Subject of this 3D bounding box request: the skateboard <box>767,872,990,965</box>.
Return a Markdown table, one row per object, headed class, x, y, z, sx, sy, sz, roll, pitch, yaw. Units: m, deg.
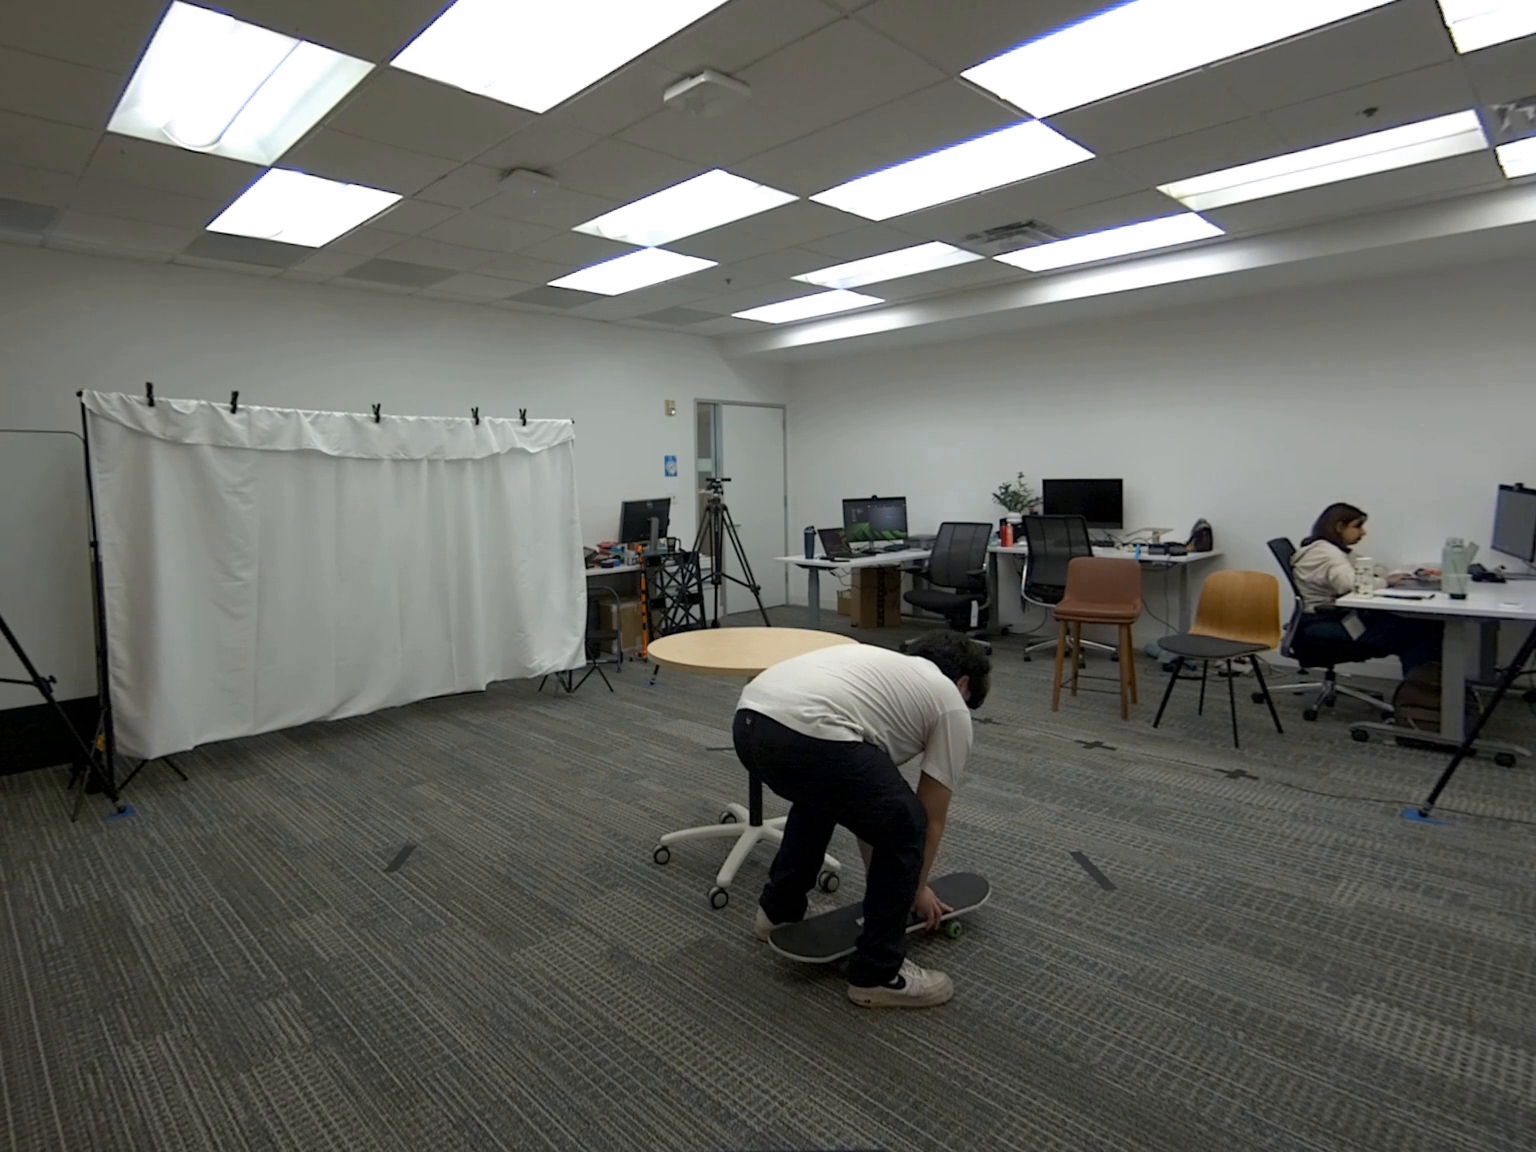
| class | x | y | z | sx | sy | sz | roll | pitch | yaw |
| --- | --- | --- | --- | --- | --- | --- | --- | --- | --- |
| skateboard | 0.362 | 1.050 | 2.554 | 0.768 | 0.110 | 0.199 | -5 | 8 | -28 |
